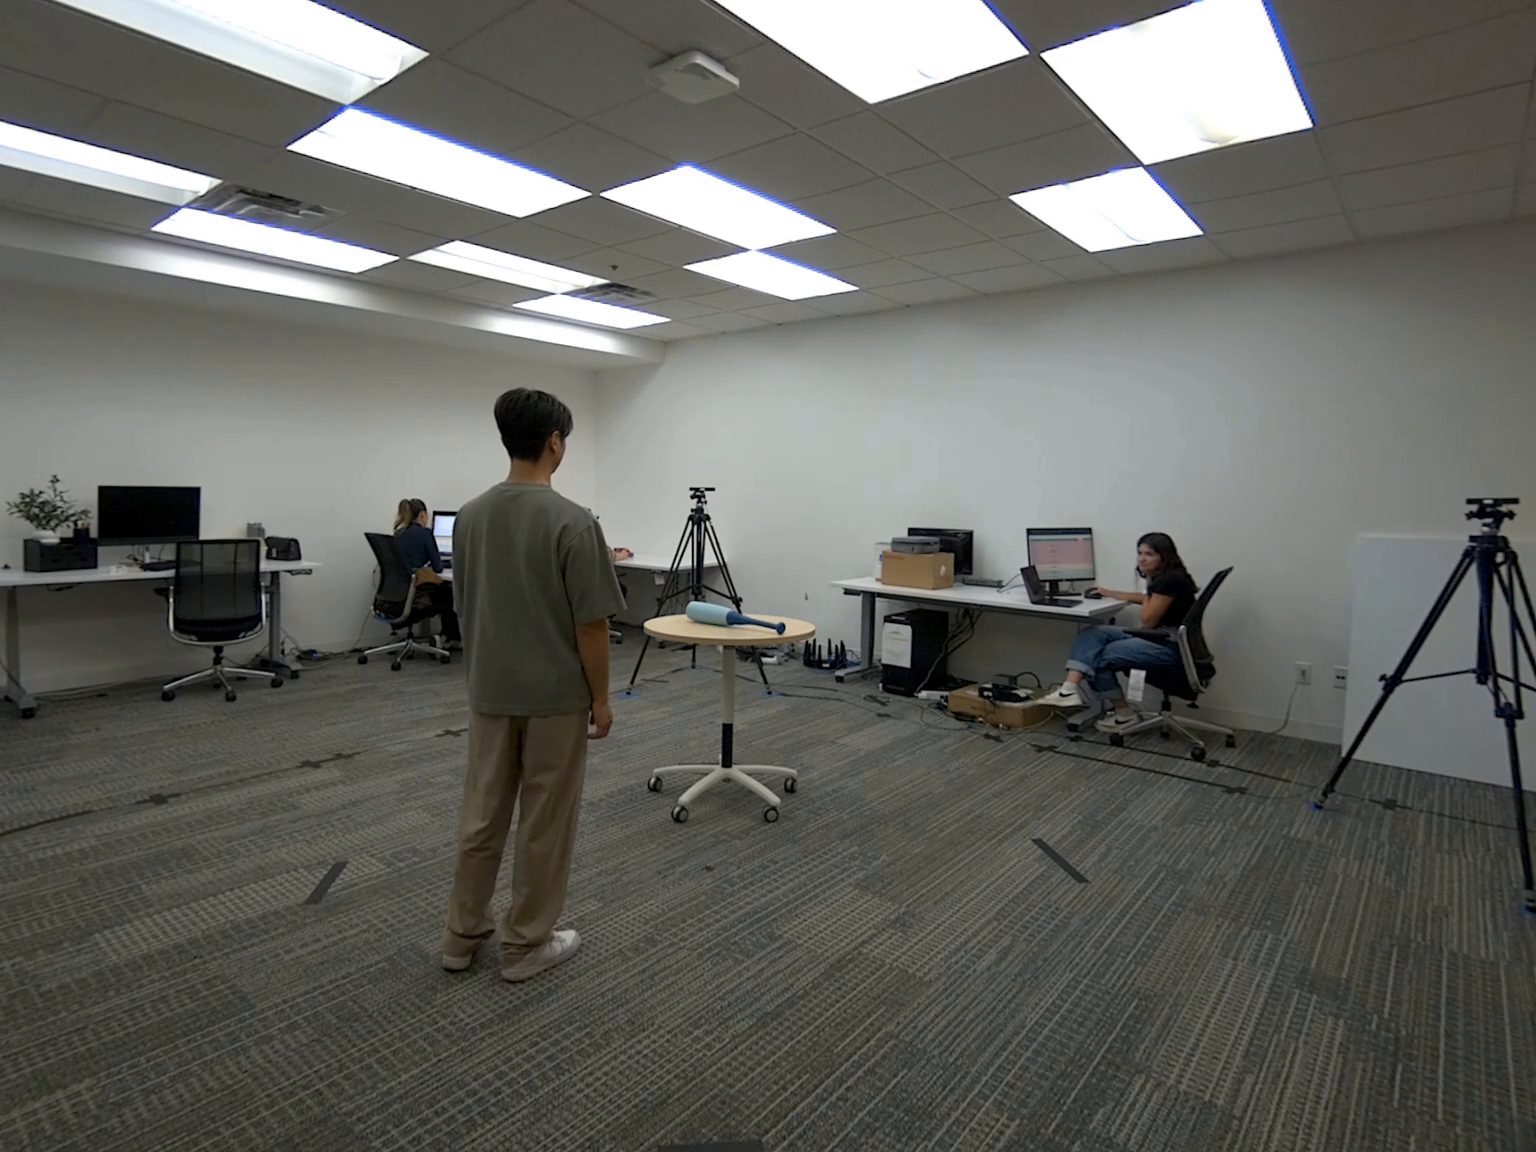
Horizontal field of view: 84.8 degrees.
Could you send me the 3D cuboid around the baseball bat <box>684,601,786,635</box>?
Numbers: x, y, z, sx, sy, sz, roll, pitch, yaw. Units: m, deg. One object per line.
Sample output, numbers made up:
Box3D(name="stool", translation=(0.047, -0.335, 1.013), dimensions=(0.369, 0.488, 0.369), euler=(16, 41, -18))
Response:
Box3D(name="baseball bat", translation=(-0.159, 0.185, 3.730), dimensions=(0.562, 0.088, 0.086), euler=(8, 8, 41))
